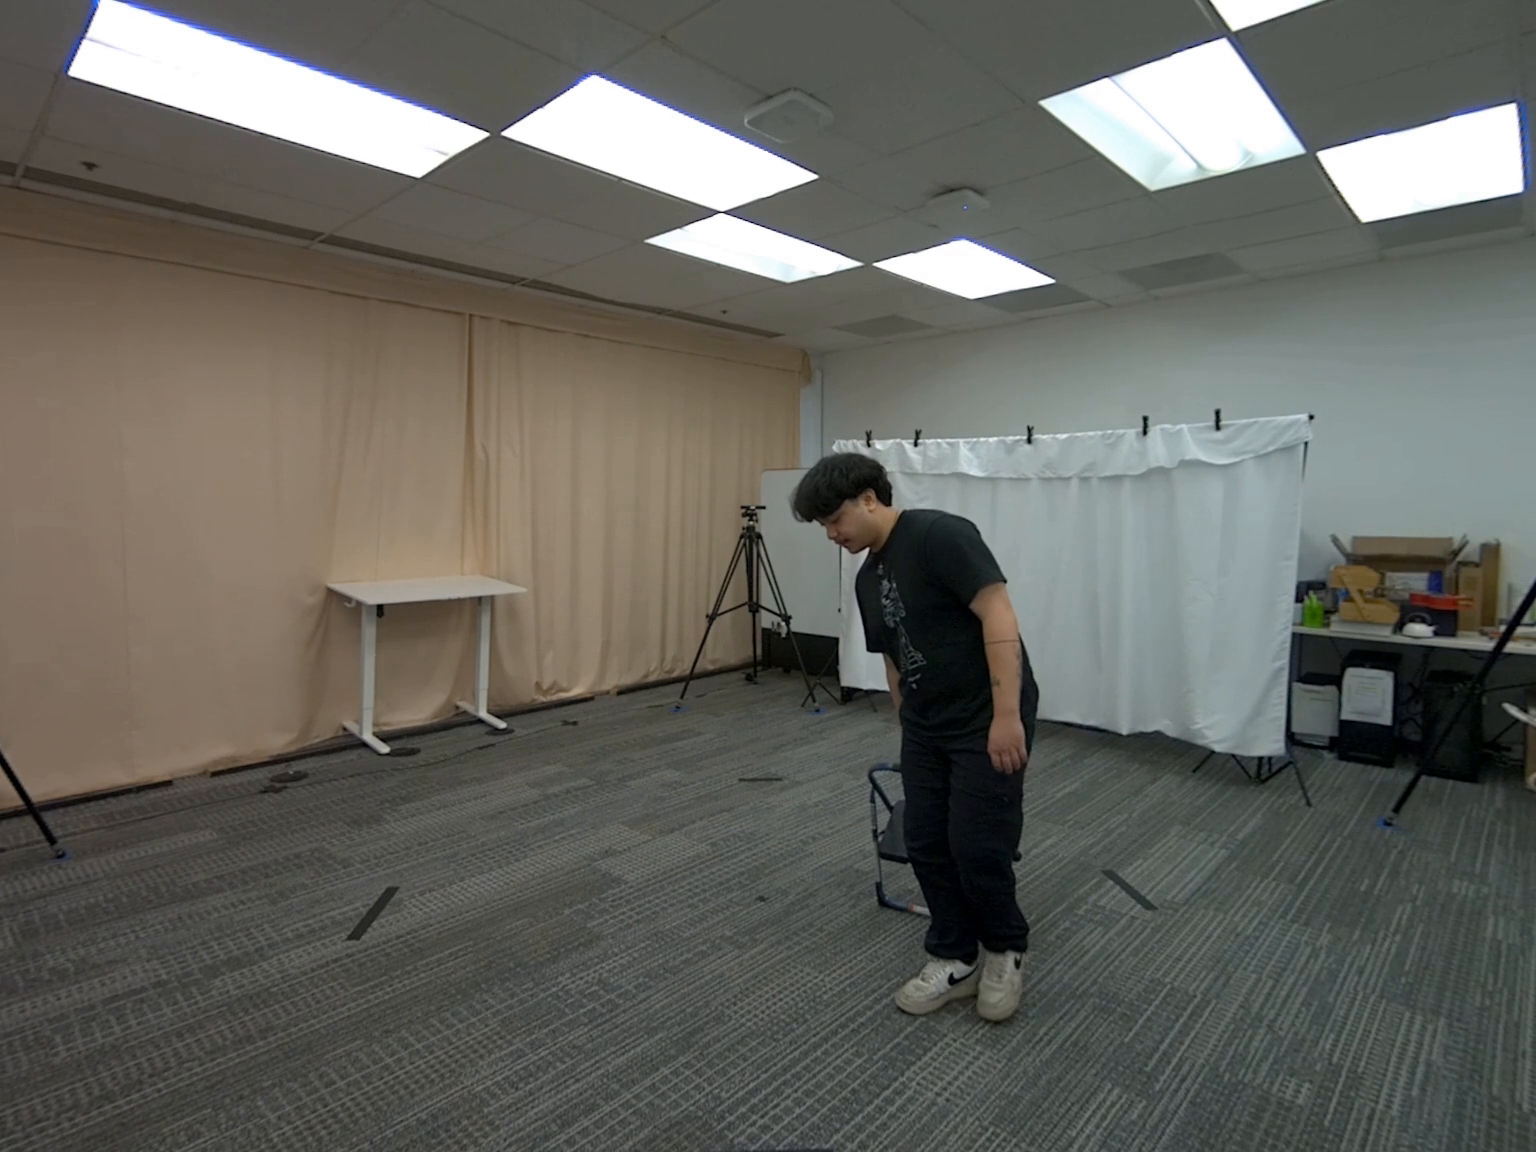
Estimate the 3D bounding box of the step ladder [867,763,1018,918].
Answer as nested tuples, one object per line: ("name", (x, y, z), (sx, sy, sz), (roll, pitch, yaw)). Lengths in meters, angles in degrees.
("step ladder", (0.574, 0.818, 2.811), (0.443, 0.593, 0.347), (2, 32, 29))
